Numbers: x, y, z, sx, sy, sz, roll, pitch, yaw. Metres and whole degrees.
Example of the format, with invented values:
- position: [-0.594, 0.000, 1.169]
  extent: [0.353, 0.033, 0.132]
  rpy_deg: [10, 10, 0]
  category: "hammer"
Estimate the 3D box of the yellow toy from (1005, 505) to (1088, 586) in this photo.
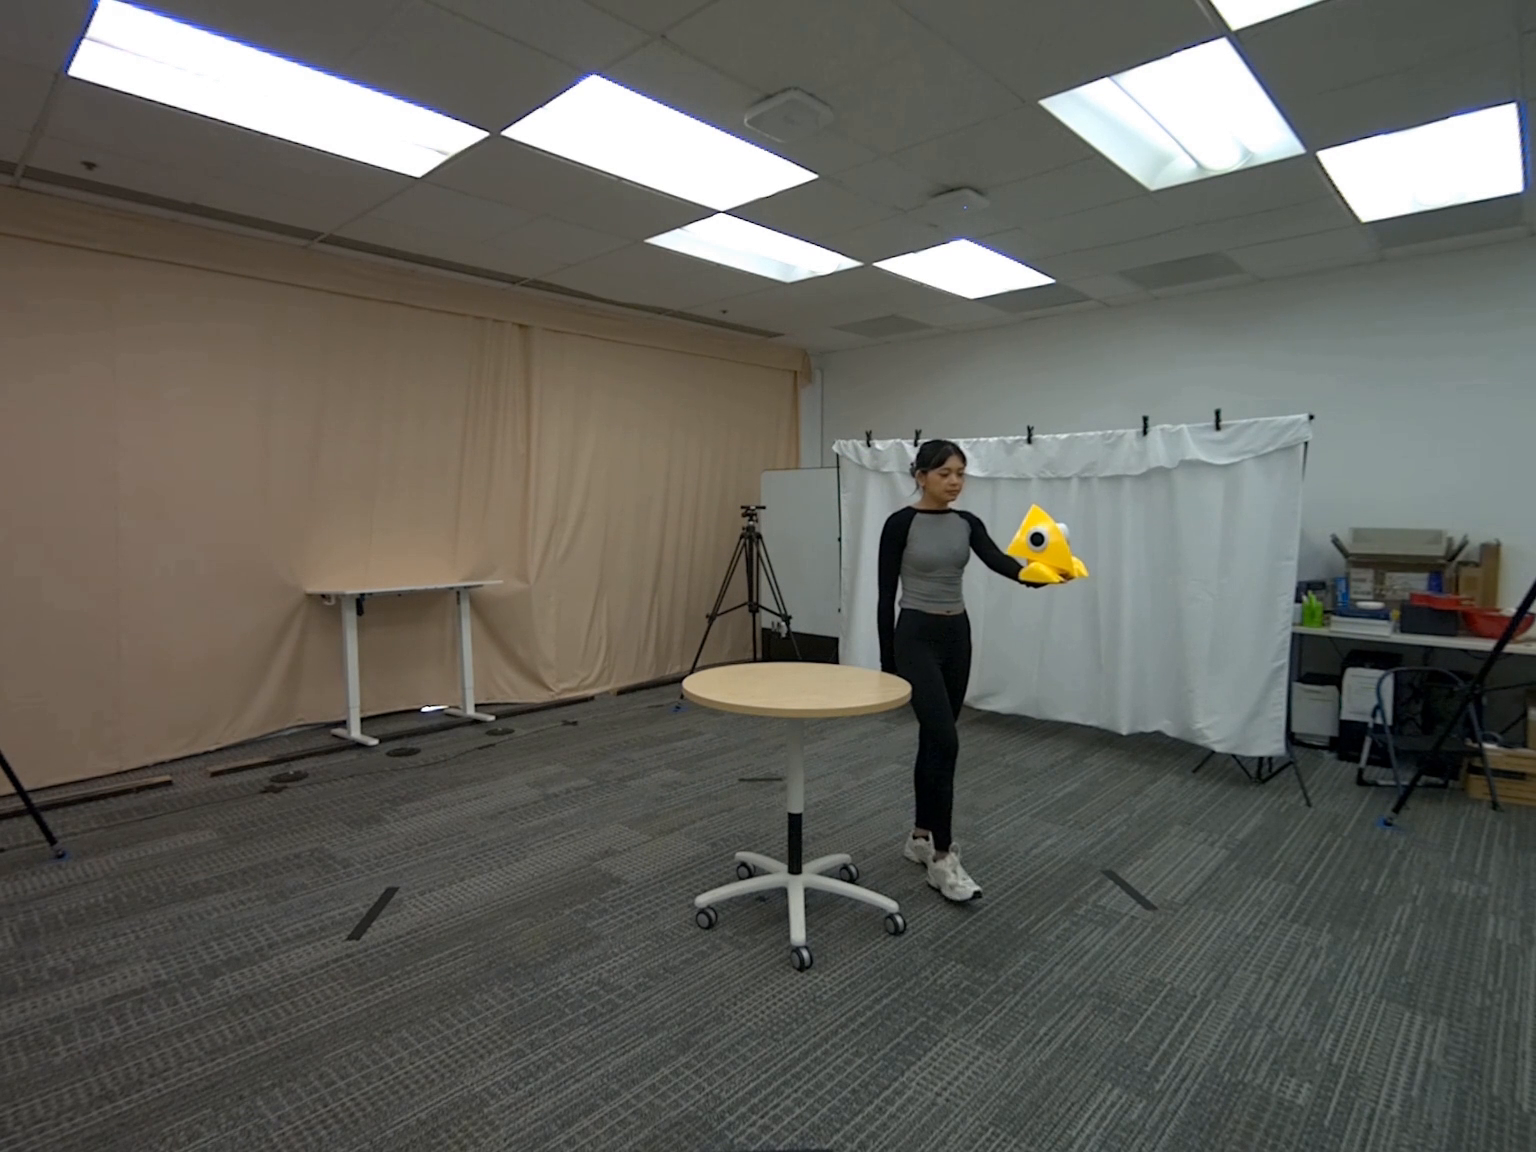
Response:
- position: [0.899, -0.111, 2.685]
  extent: [0.200, 0.229, 0.198]
  rpy_deg: [-8, 9, -27]
  category: "yellow toy"
